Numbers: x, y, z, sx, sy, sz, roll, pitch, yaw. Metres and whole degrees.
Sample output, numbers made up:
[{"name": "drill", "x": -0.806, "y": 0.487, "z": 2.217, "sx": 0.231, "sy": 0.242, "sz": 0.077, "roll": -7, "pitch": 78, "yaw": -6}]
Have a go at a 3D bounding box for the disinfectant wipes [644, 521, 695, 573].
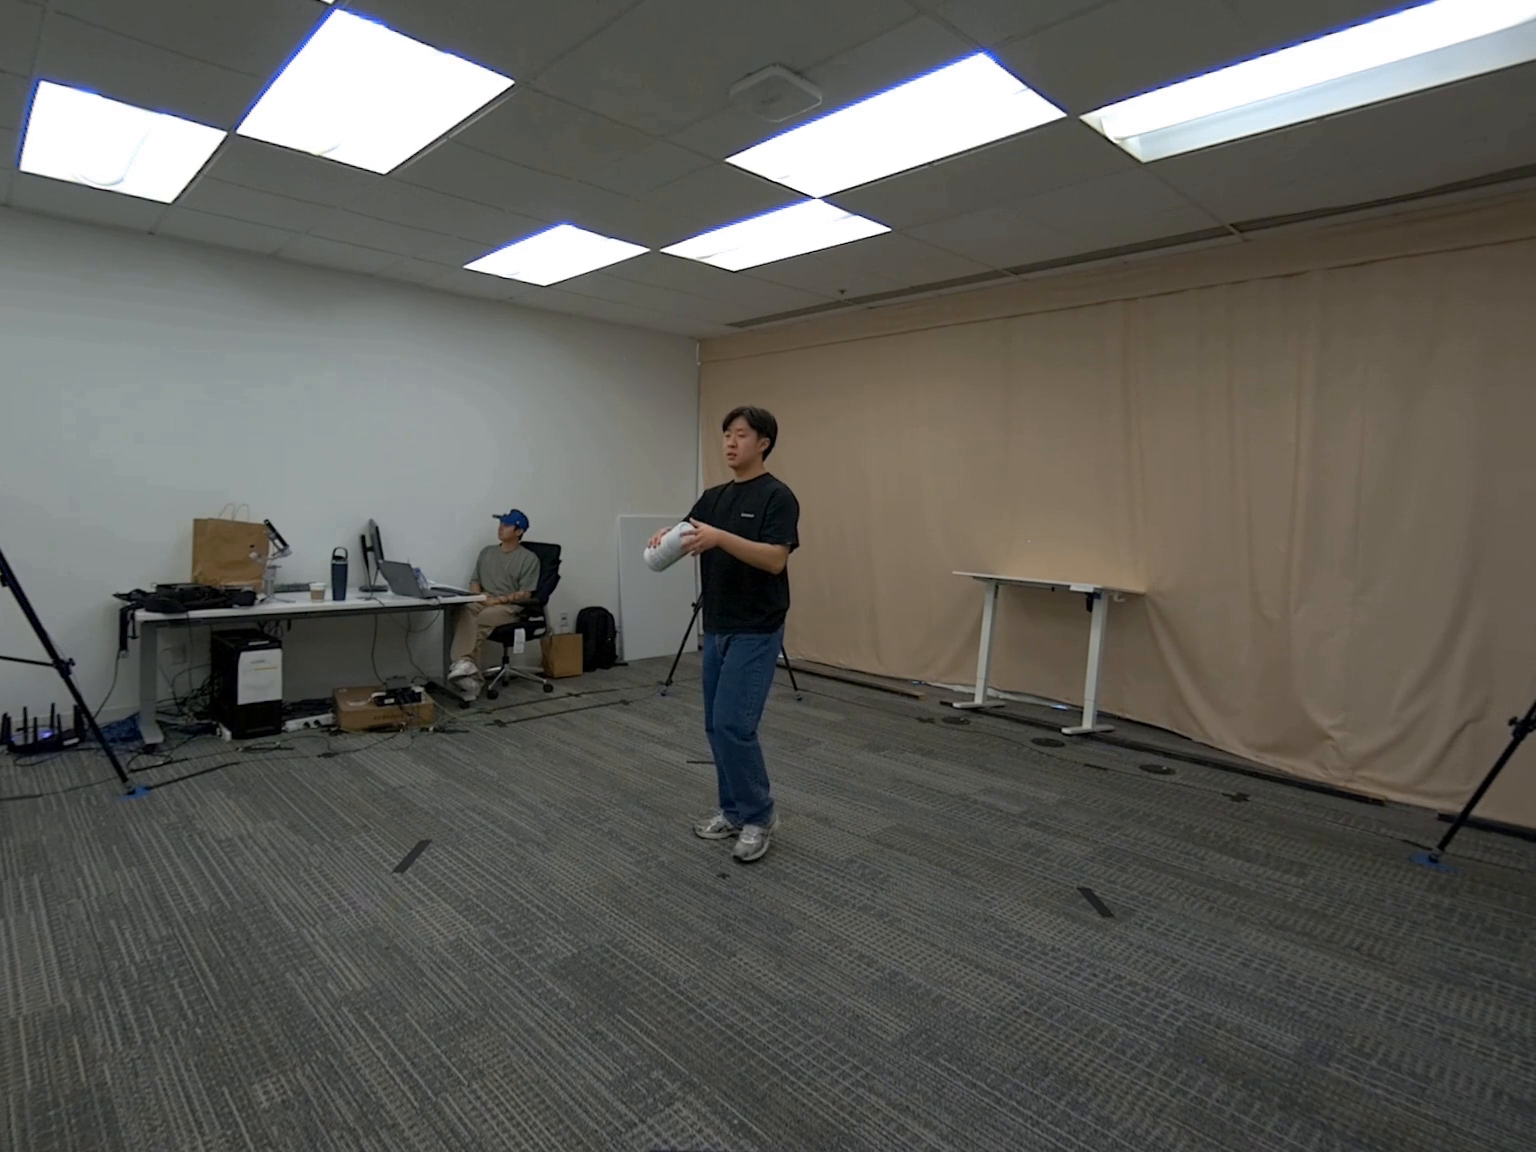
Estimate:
[{"name": "disinfectant wipes", "x": -0.375, "y": -0.111, "z": 3.135, "sx": 0.219, "sy": 0.119, "sz": 0.115, "roll": -33, "pitch": -17, "yaw": 33}]
